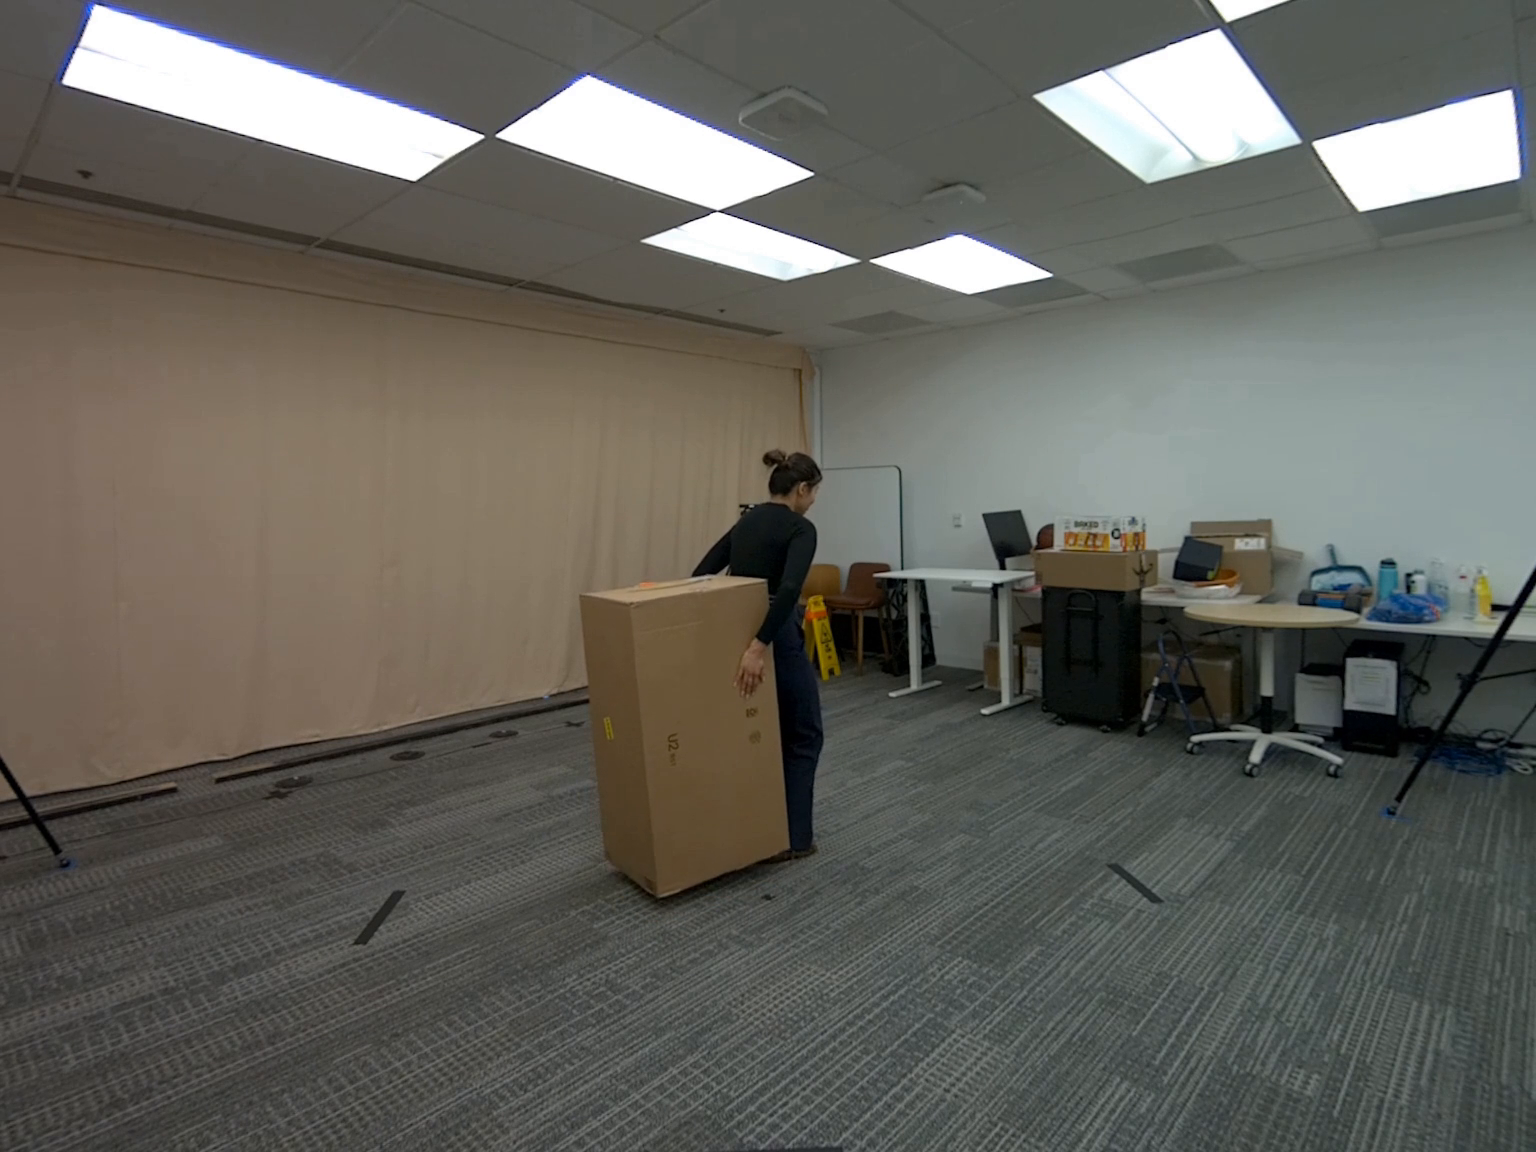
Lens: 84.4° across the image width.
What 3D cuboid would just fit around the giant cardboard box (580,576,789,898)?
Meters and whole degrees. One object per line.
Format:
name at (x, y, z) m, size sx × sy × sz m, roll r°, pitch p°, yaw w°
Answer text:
giant cardboard box at (-0.314, 0.553, 3.143) m, size 0.562 × 1.022 × 0.439 m, roll -8°, pitch 6°, yaw -34°
